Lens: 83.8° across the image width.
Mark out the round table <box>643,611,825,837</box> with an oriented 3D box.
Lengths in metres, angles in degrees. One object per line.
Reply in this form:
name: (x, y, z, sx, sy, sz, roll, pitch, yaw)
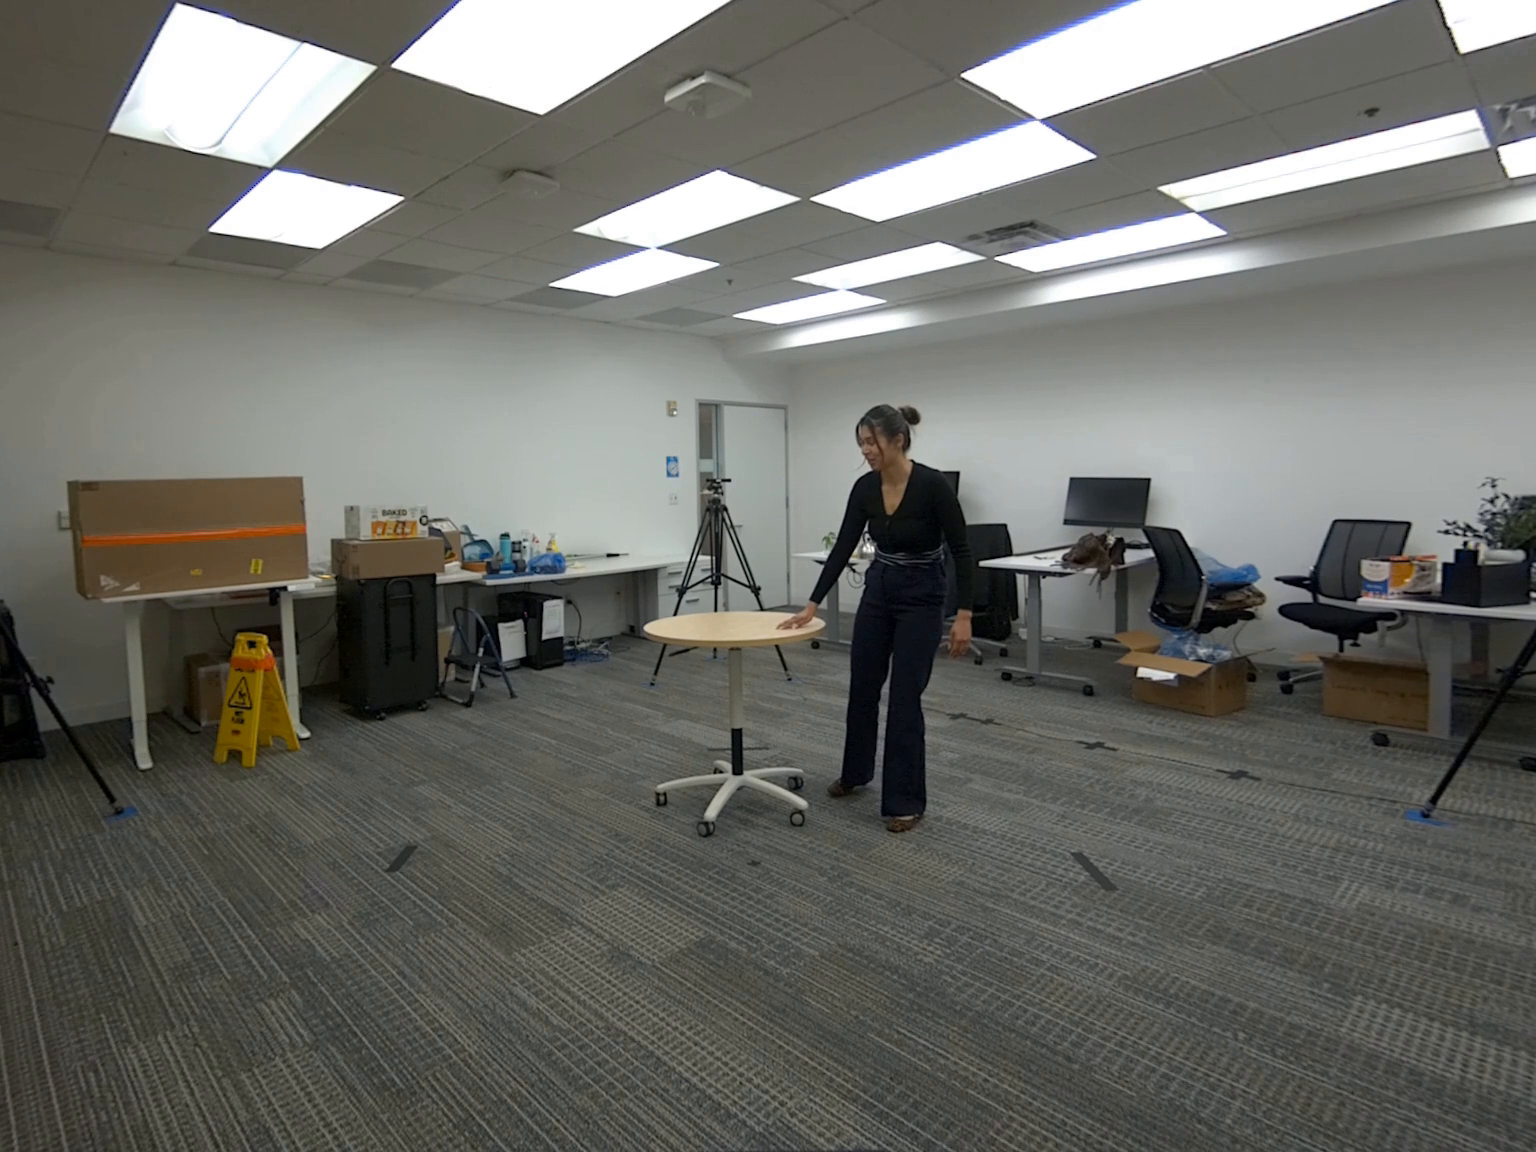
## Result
round table: (-0.132, 0.598, 3.633, 0.763, 0.791, 0.767, -1, 4, -2)
